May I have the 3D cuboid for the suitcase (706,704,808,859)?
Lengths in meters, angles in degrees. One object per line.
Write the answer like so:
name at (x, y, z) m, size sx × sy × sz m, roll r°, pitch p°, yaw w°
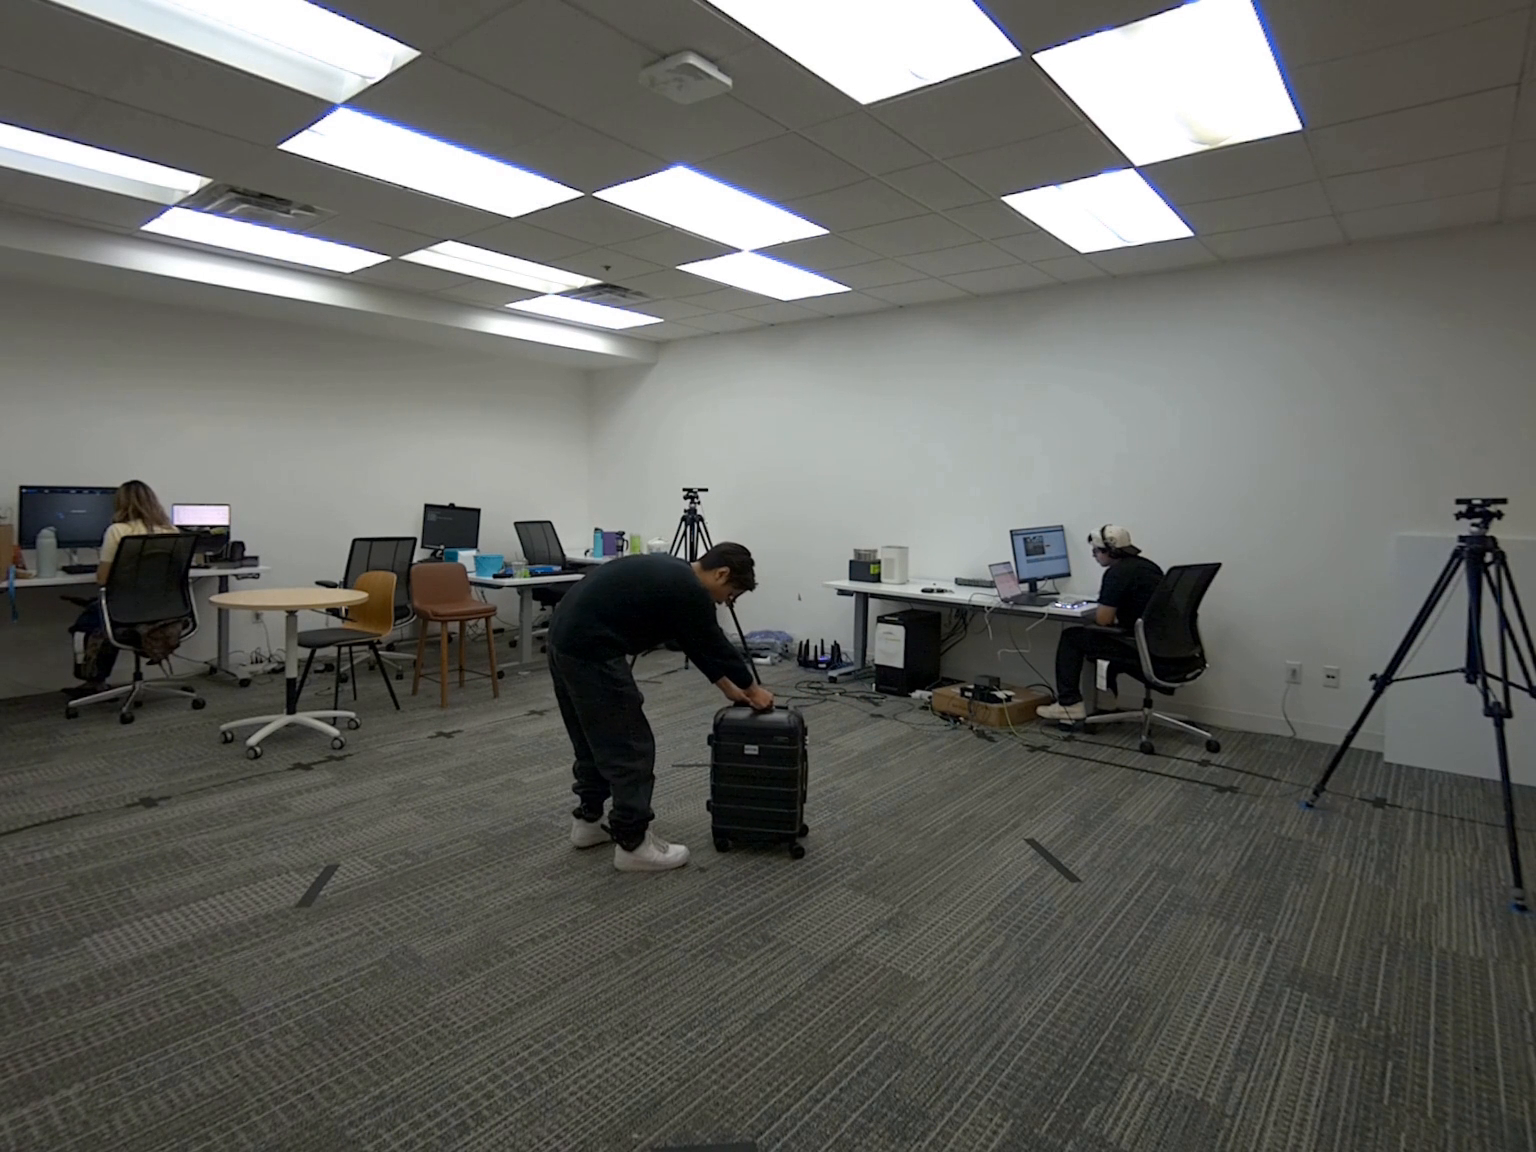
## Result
suitcase at (-0.049, 0.778, 3.338) m, size 0.379 × 0.547 × 0.247 m, roll 2°, pitch 5°, yaw 9°
